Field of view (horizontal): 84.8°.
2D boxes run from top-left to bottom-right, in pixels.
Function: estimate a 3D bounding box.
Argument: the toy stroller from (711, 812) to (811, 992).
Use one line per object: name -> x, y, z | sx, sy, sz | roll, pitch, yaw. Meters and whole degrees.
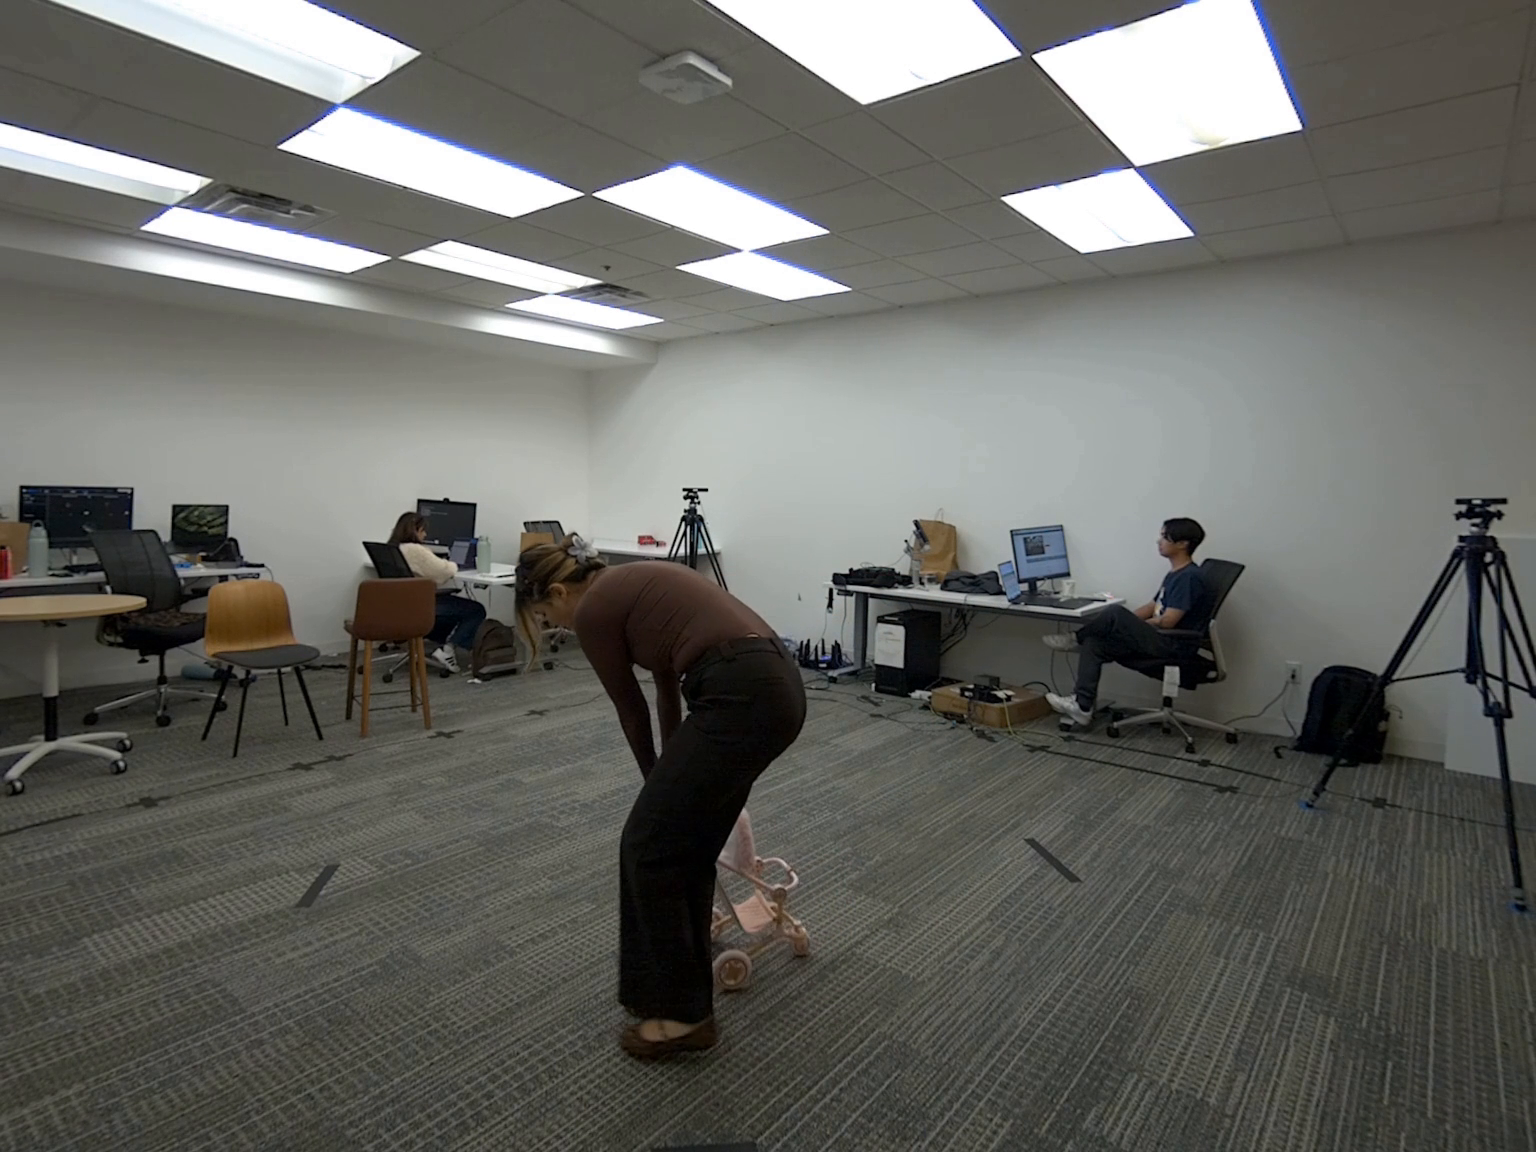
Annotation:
toy stroller -> -0.078, 0.904, 2.485 | 0.338, 0.530, 0.286 | -16, 8, -12
